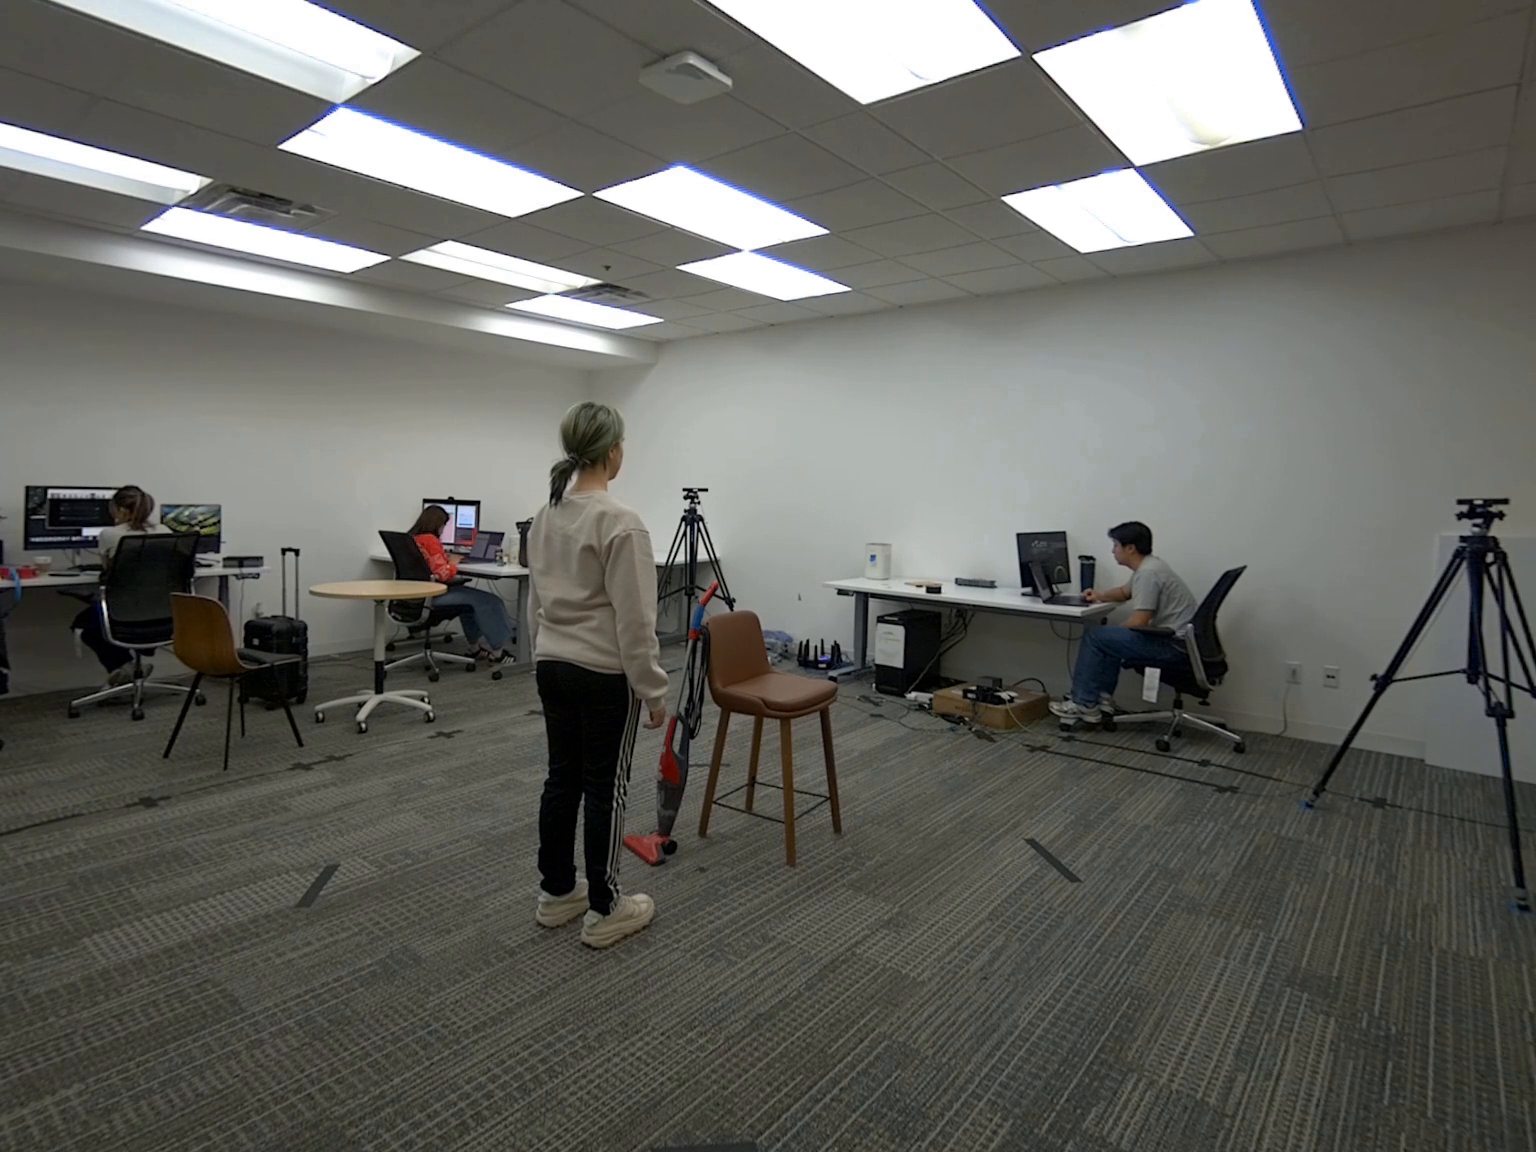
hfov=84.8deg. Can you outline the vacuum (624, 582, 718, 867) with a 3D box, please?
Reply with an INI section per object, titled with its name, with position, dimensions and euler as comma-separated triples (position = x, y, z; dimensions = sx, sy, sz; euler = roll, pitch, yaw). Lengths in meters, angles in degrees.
[vacuum]
position = -0.343, 0.544, 3.313
dimensions = 0.139, 1.054, 0.261
euler = 16, -8, -37
